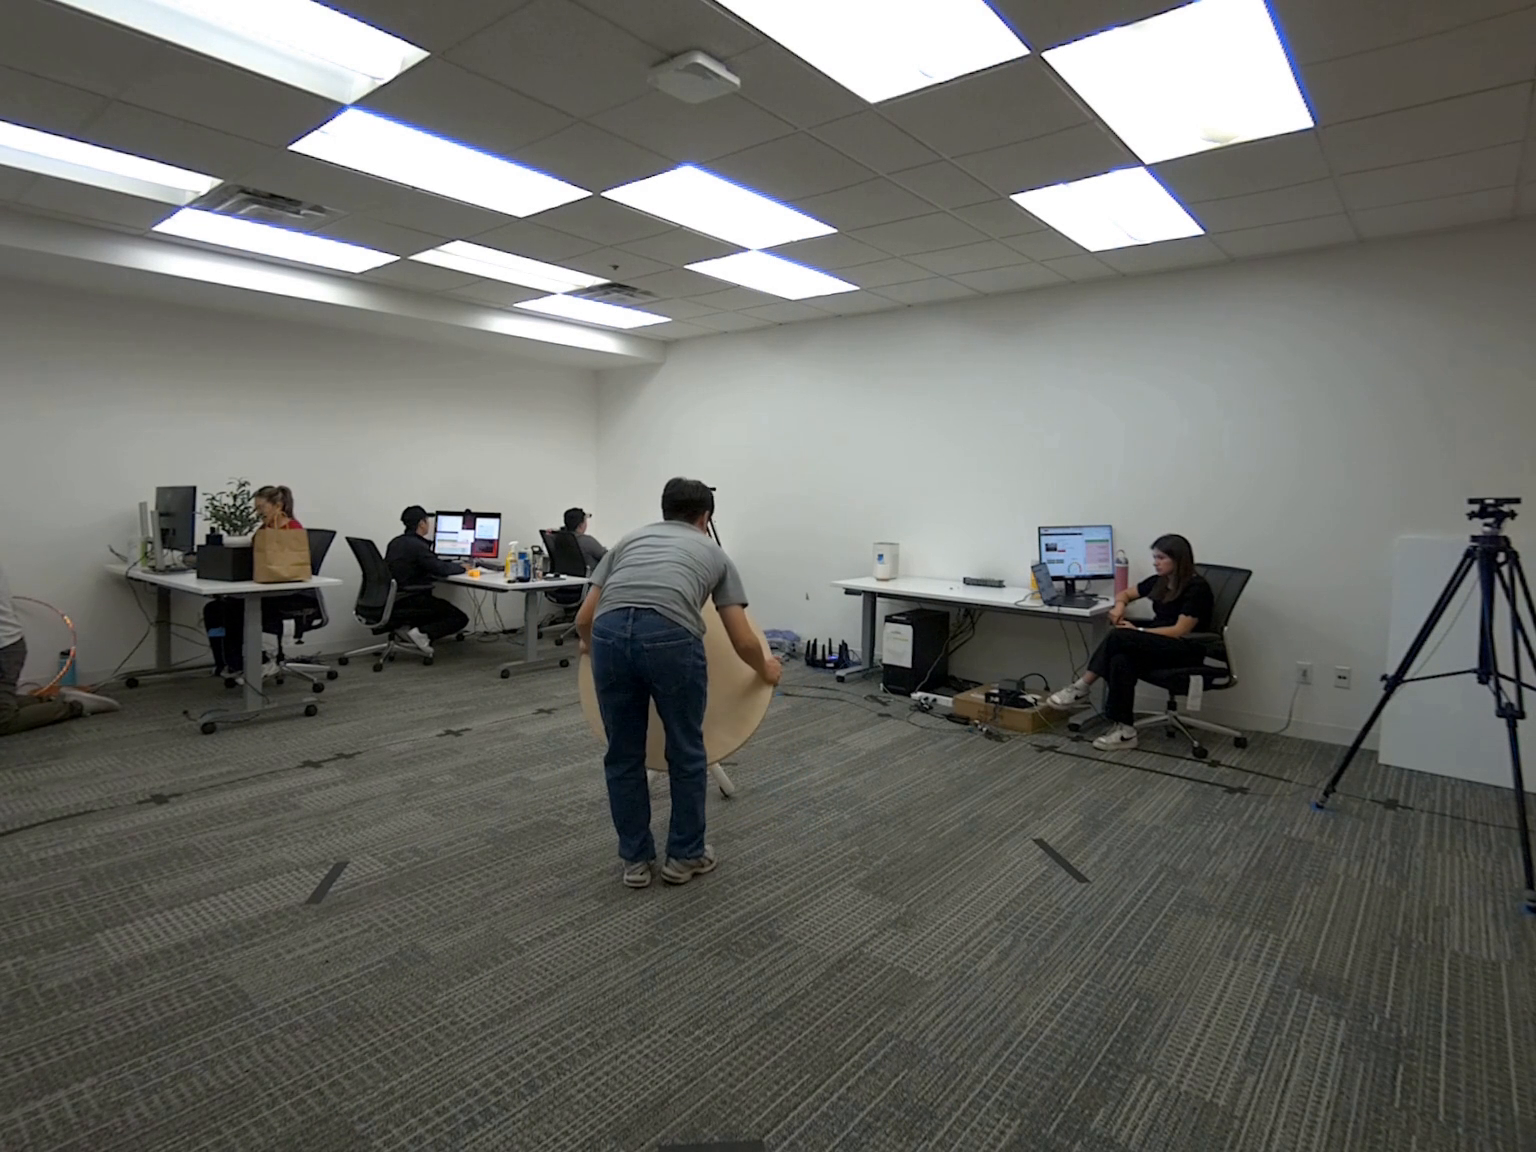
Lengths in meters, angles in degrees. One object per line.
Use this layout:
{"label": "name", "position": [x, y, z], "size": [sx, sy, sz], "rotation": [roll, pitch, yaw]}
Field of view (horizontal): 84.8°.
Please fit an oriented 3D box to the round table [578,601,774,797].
{"label": "round table", "position": [-0.367, 0.559, 3.669], "size": [0.766, 0.782, 0.773], "rotation": [1, -30, 2]}
